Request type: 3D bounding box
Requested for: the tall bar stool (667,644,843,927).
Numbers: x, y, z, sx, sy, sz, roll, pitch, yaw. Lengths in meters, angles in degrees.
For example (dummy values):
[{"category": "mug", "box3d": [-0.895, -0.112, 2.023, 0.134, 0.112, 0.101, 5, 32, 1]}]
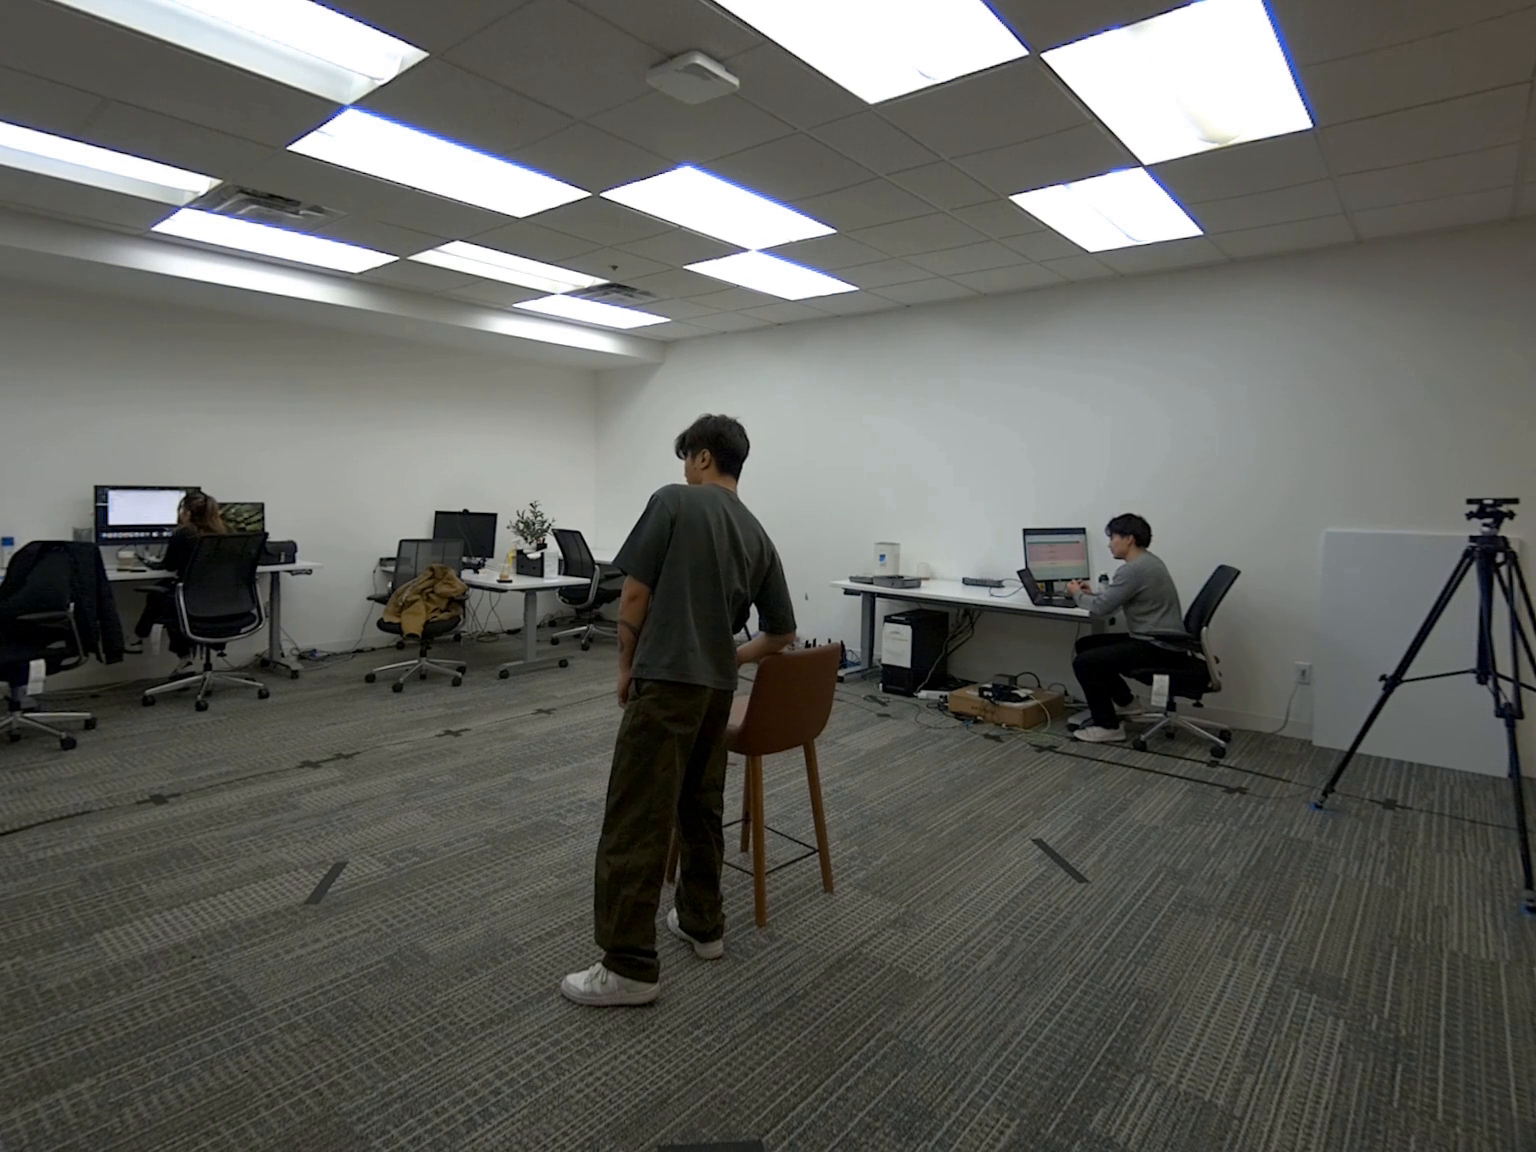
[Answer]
[{"category": "tall bar stool", "box3d": [-0.050, 0.649, 2.962, 0.484, 0.887, 0.442, 7, 6, 44]}]
